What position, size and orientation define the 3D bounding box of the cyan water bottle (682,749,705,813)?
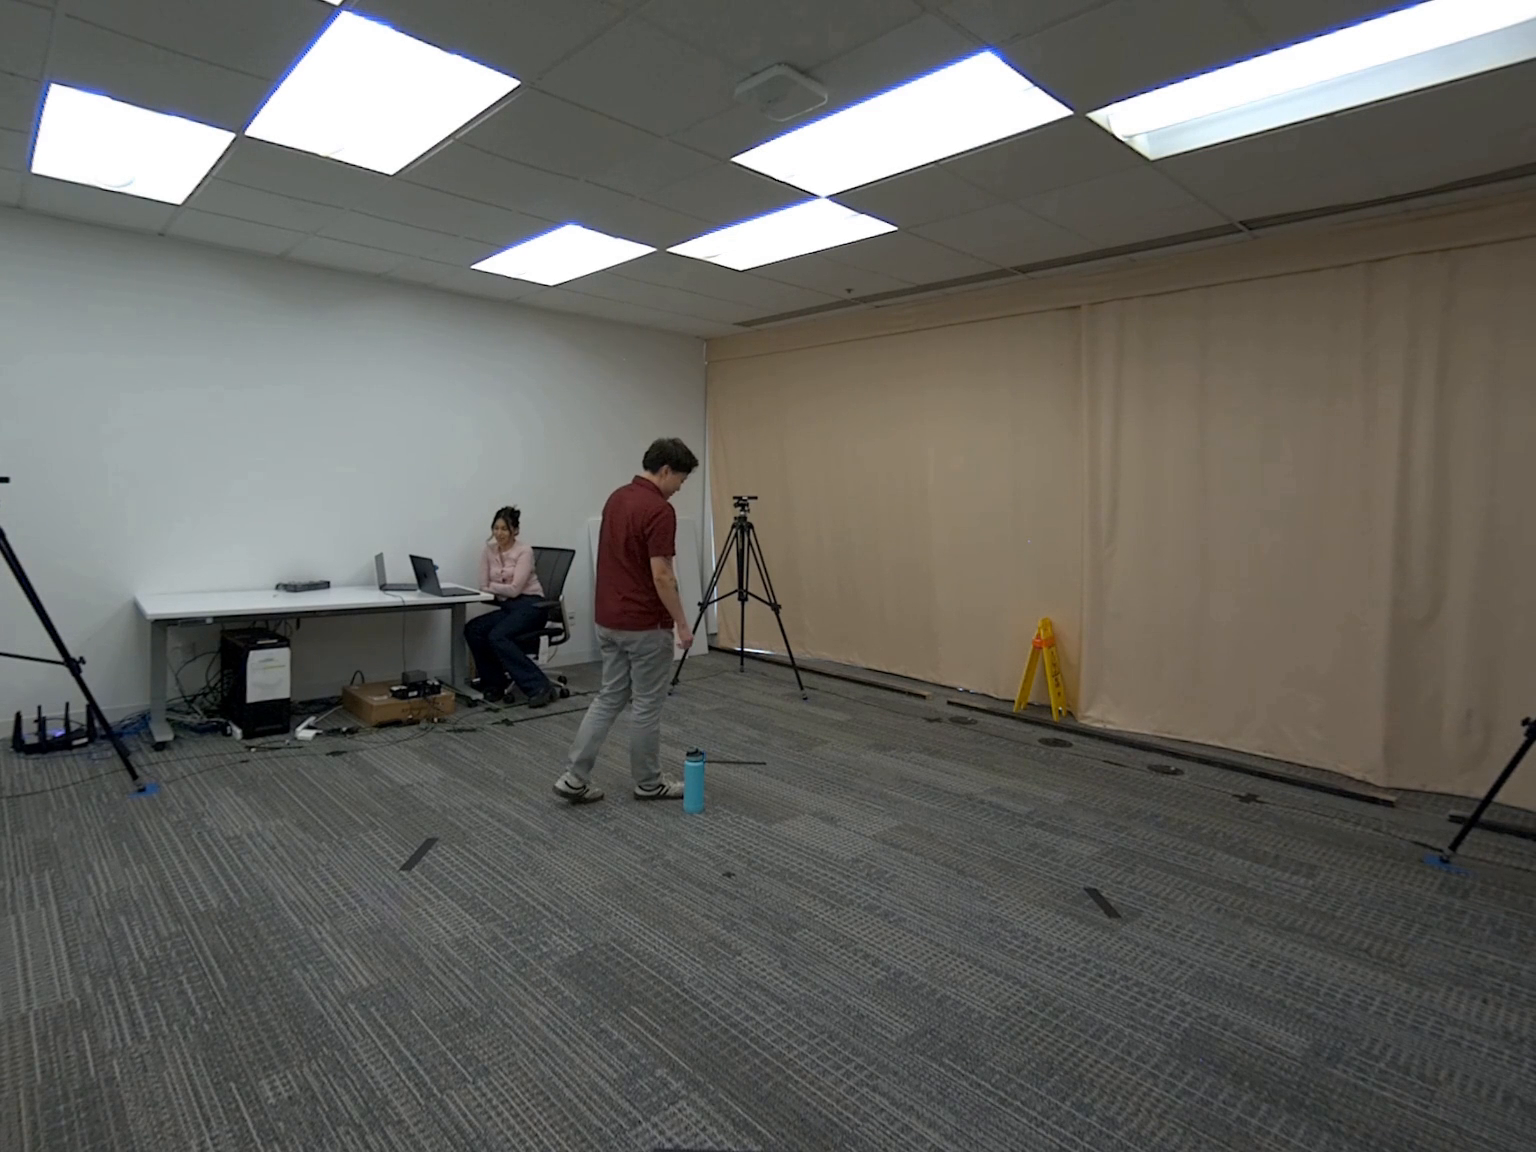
[{"bbox_3d":[-0.339,0.905,3.743,0.092,0.283,0.092,2,3,-2],"label":"cyan water bottle"}]
